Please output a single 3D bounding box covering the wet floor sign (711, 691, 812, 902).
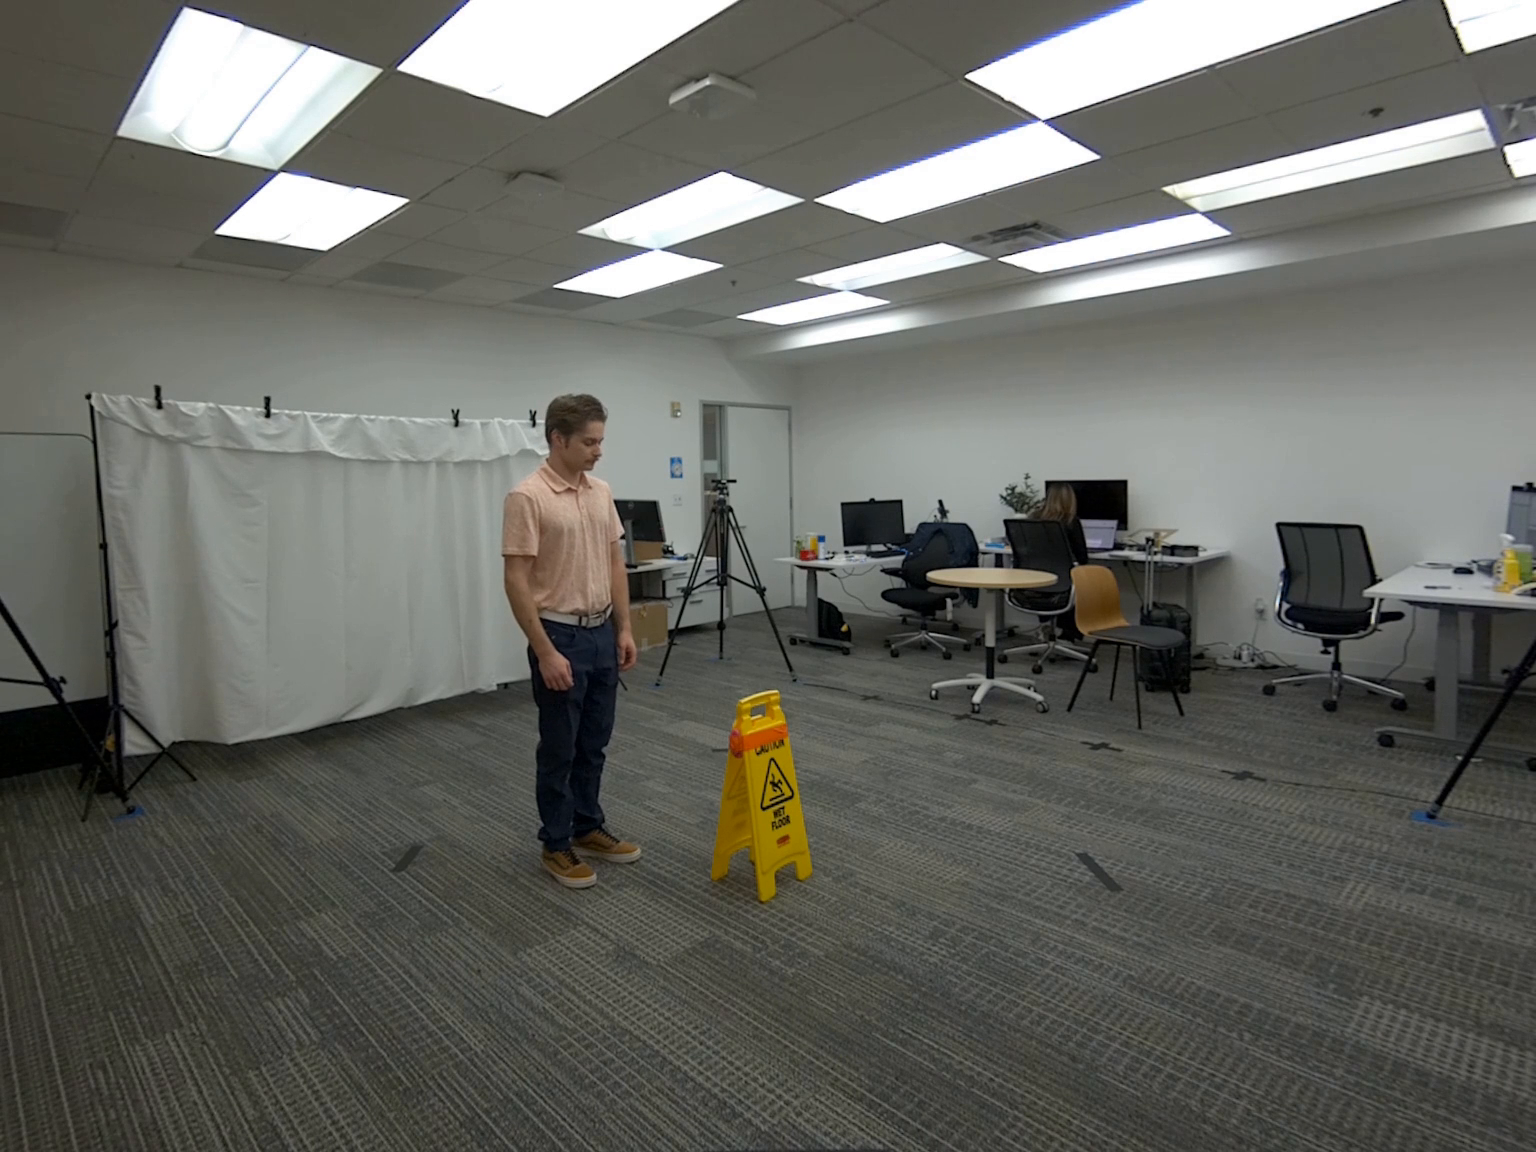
[{"bbox_3d":[-0.024,0.729,2.978,0.299,0.643,0.275,4,6,42],"label":"wet floor sign"}]
